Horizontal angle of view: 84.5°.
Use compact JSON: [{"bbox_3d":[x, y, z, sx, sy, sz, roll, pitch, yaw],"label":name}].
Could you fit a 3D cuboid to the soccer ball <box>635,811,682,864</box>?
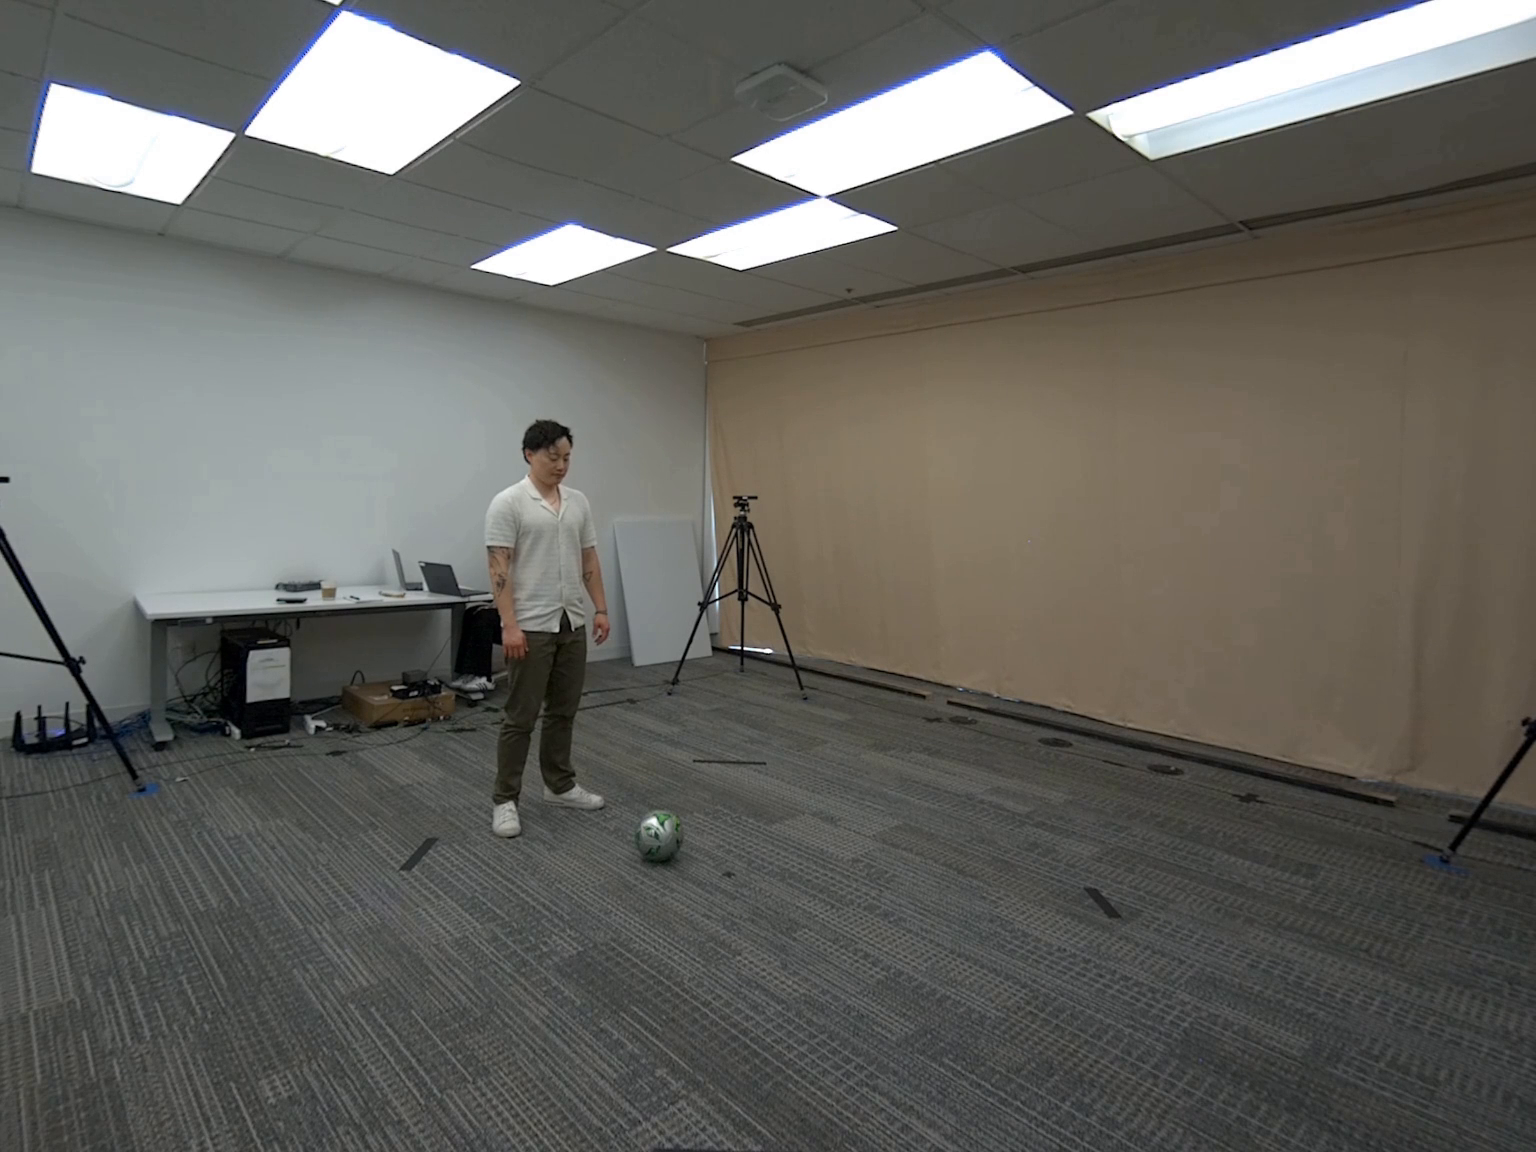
[{"bbox_3d":[-0.426,0.992,3.214,0.187,0.187,0.188,1,4,-1],"label":"soccer ball"}]
